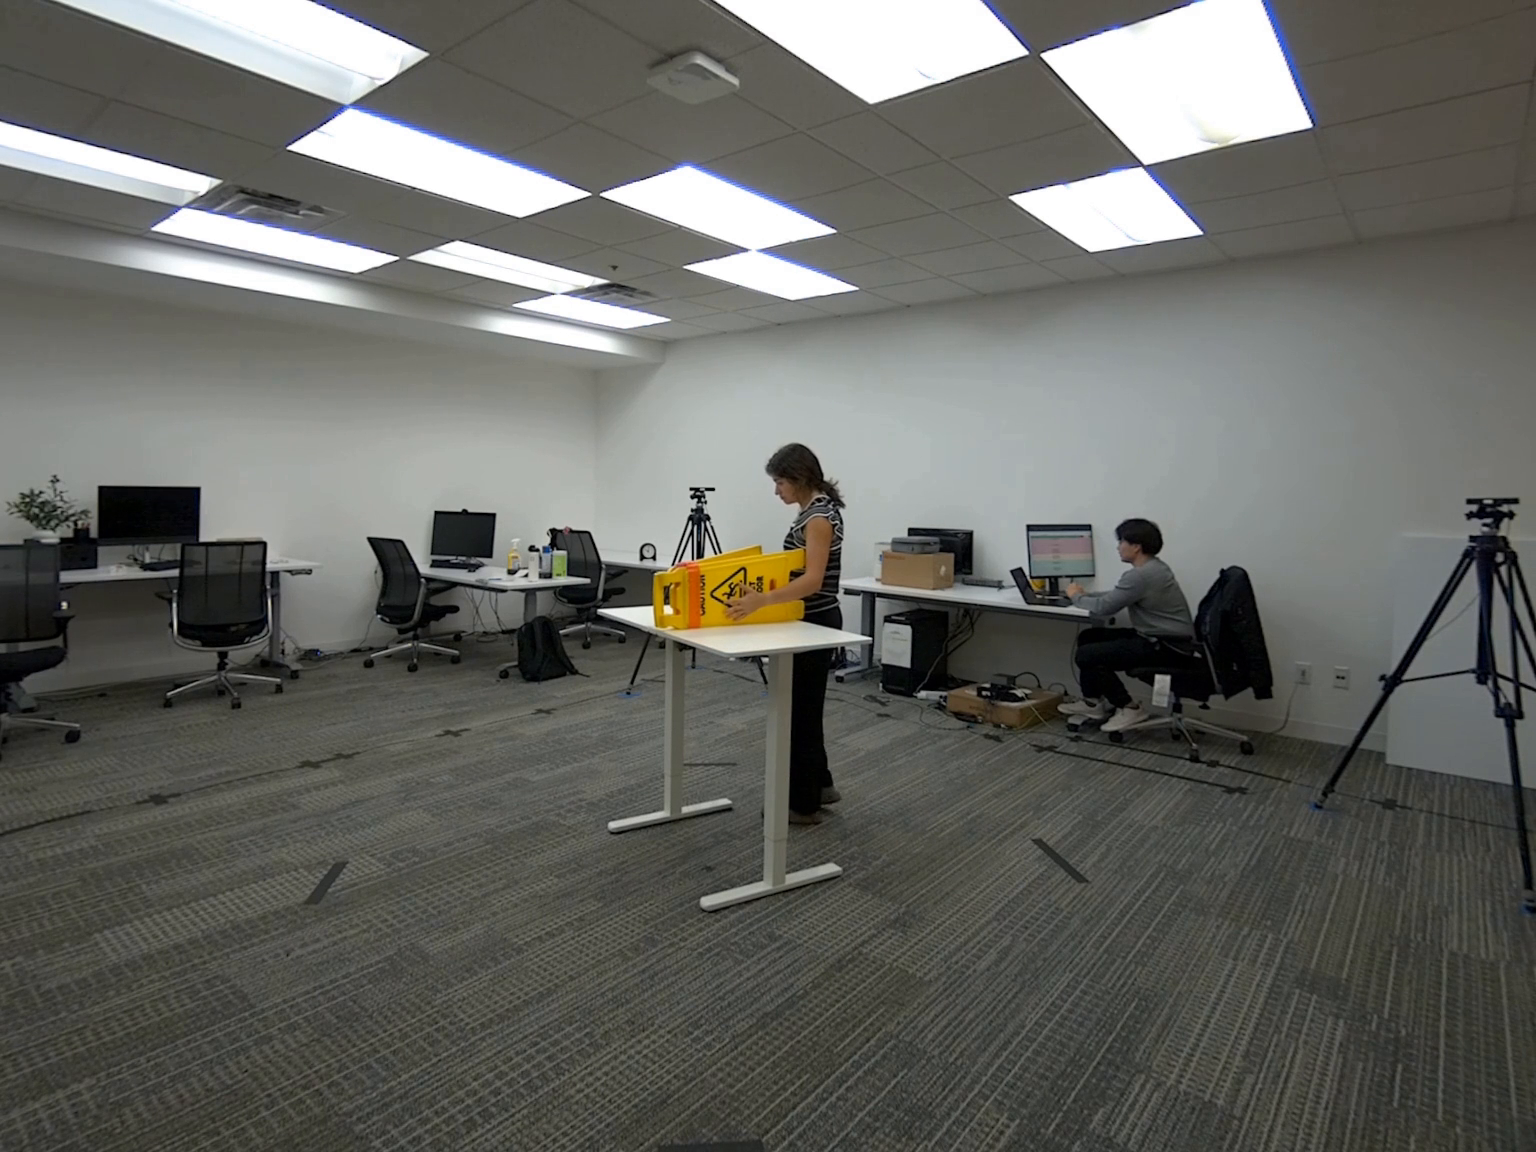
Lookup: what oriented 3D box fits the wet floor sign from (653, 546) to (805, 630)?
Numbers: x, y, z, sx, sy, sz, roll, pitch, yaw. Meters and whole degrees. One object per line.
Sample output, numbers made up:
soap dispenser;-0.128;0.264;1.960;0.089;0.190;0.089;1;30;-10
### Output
wet floor sign;-0.179;0.054;3.196;0.628;0.281;0.299;-8;9;-44
